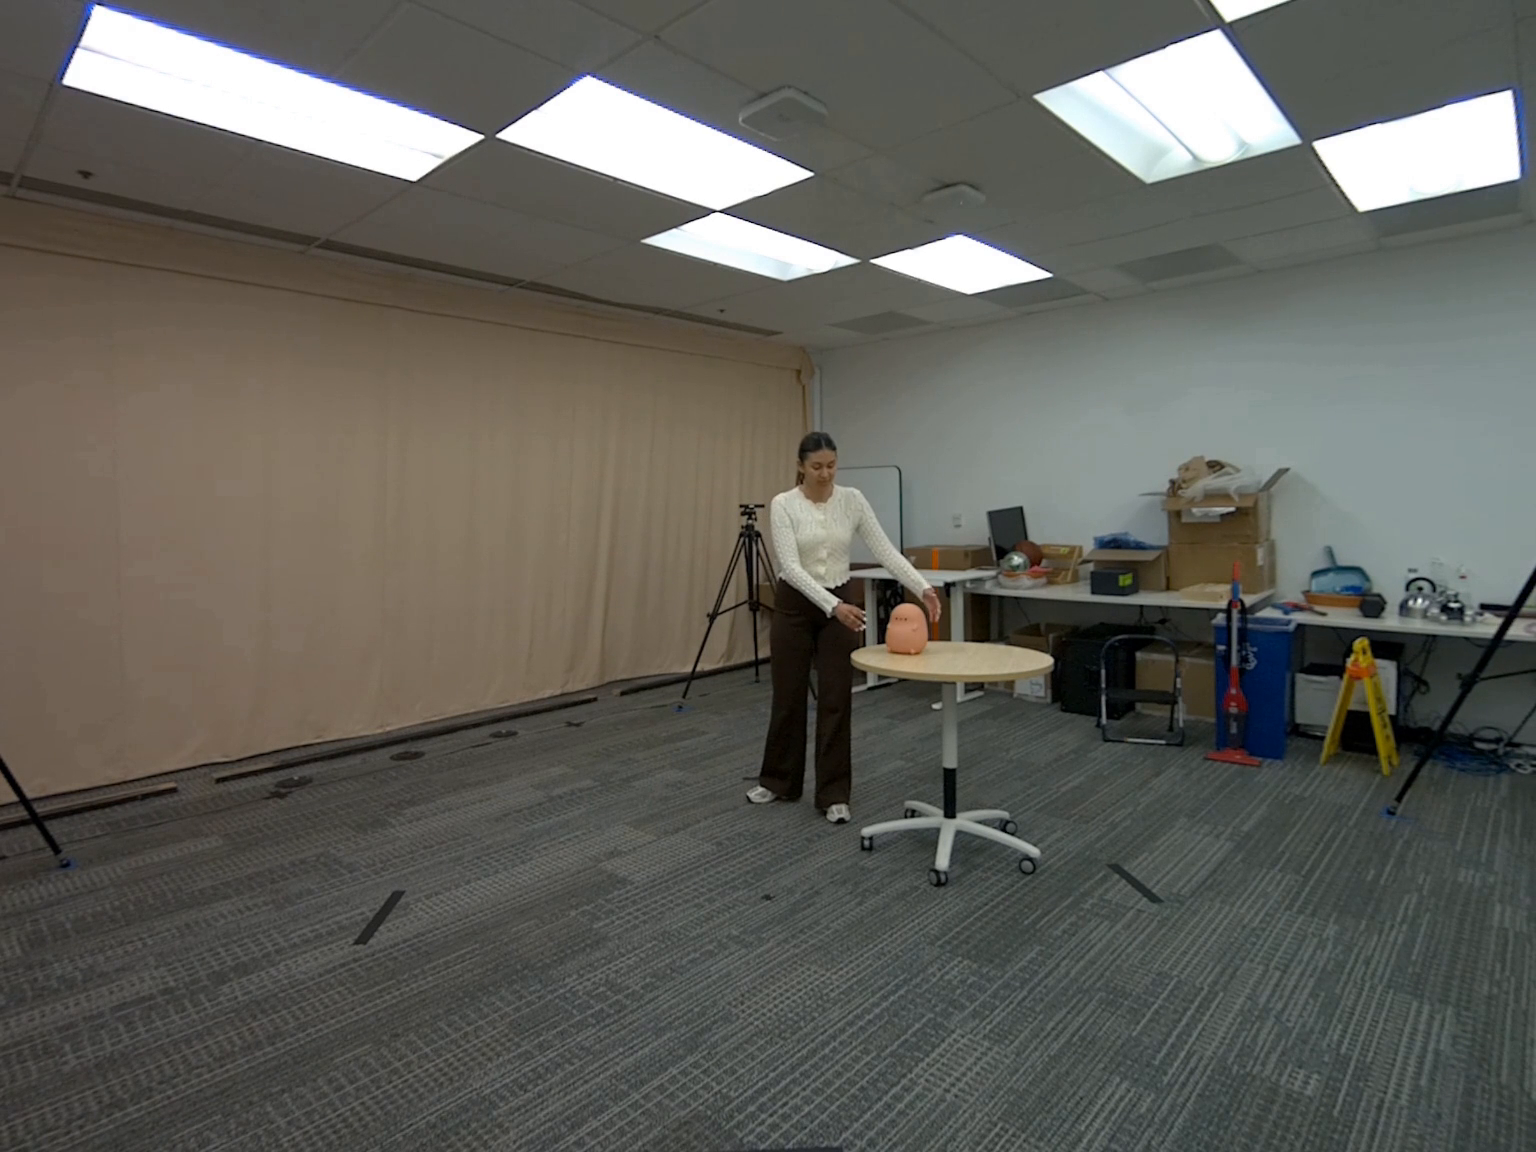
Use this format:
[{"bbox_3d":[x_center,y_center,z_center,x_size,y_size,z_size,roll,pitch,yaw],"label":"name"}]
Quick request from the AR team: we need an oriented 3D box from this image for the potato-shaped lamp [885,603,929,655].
[{"bbox_3d":[0.576,0.212,3.419,0.170,0.198,0.166,-1,1,40],"label":"potato-shaped lamp"}]
